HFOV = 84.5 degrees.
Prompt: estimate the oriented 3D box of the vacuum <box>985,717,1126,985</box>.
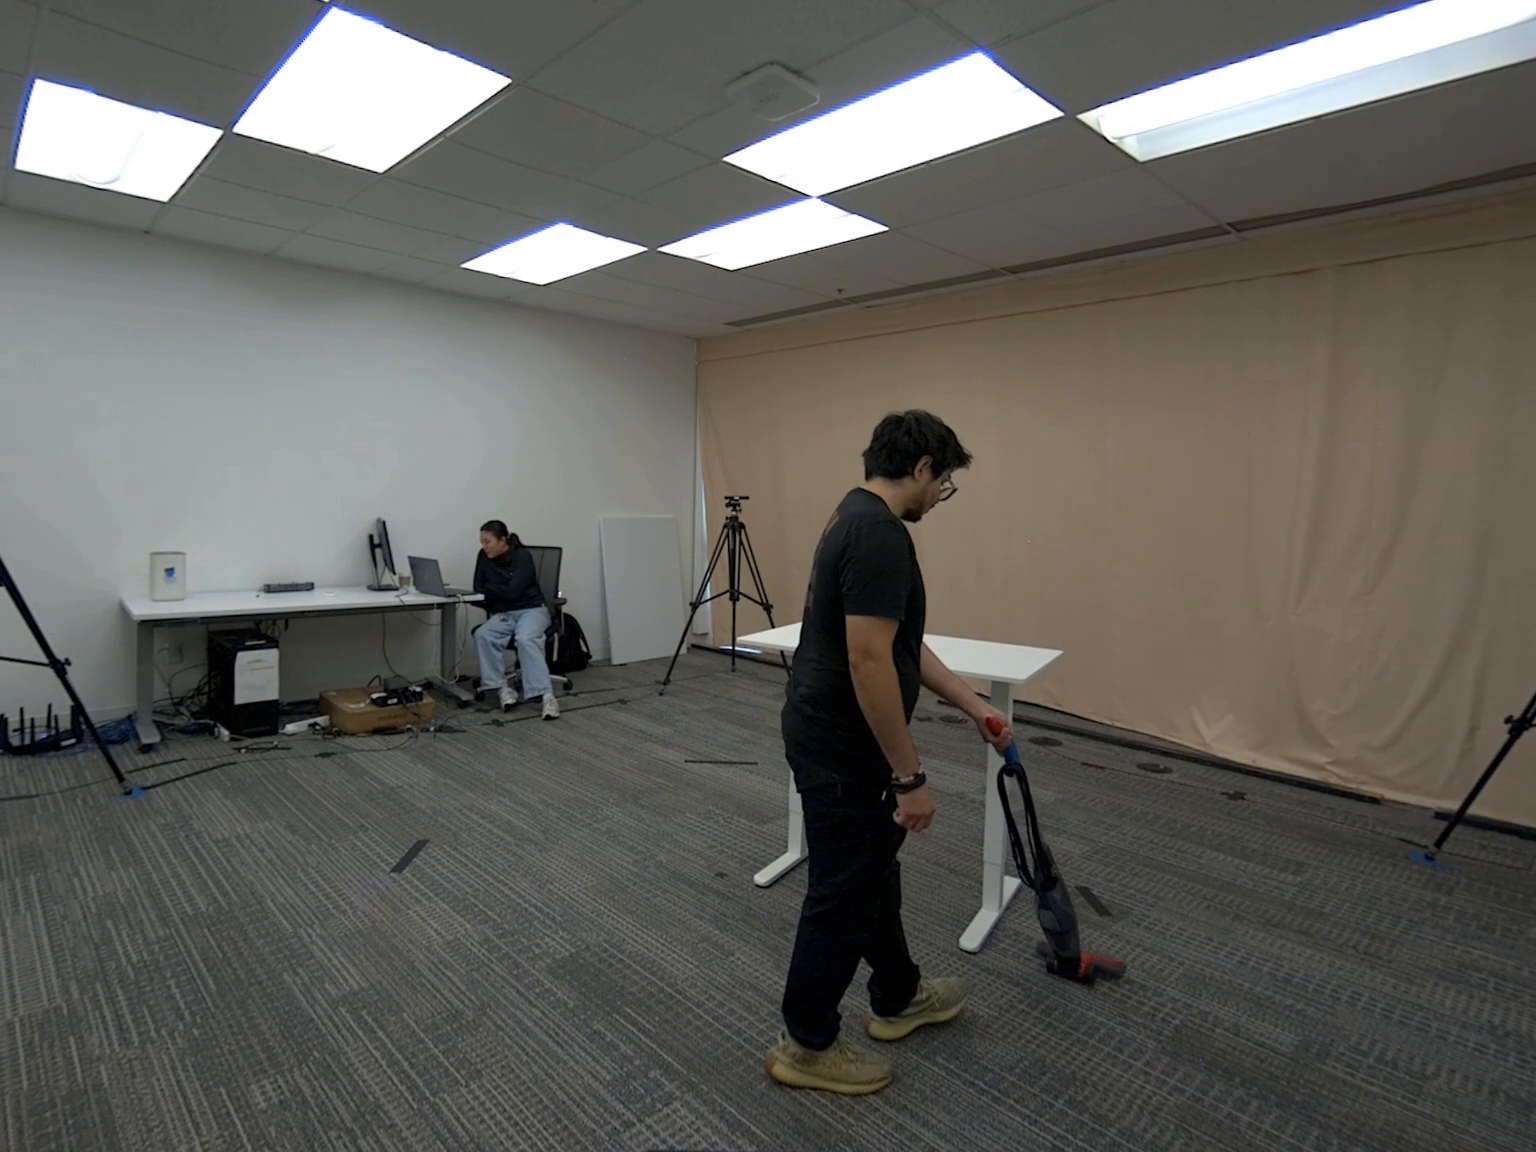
[{"bbox_3d":[0.727,0.763,2.285,0.258,1.023,0.144,0,37,38],"label":"vacuum"}]
